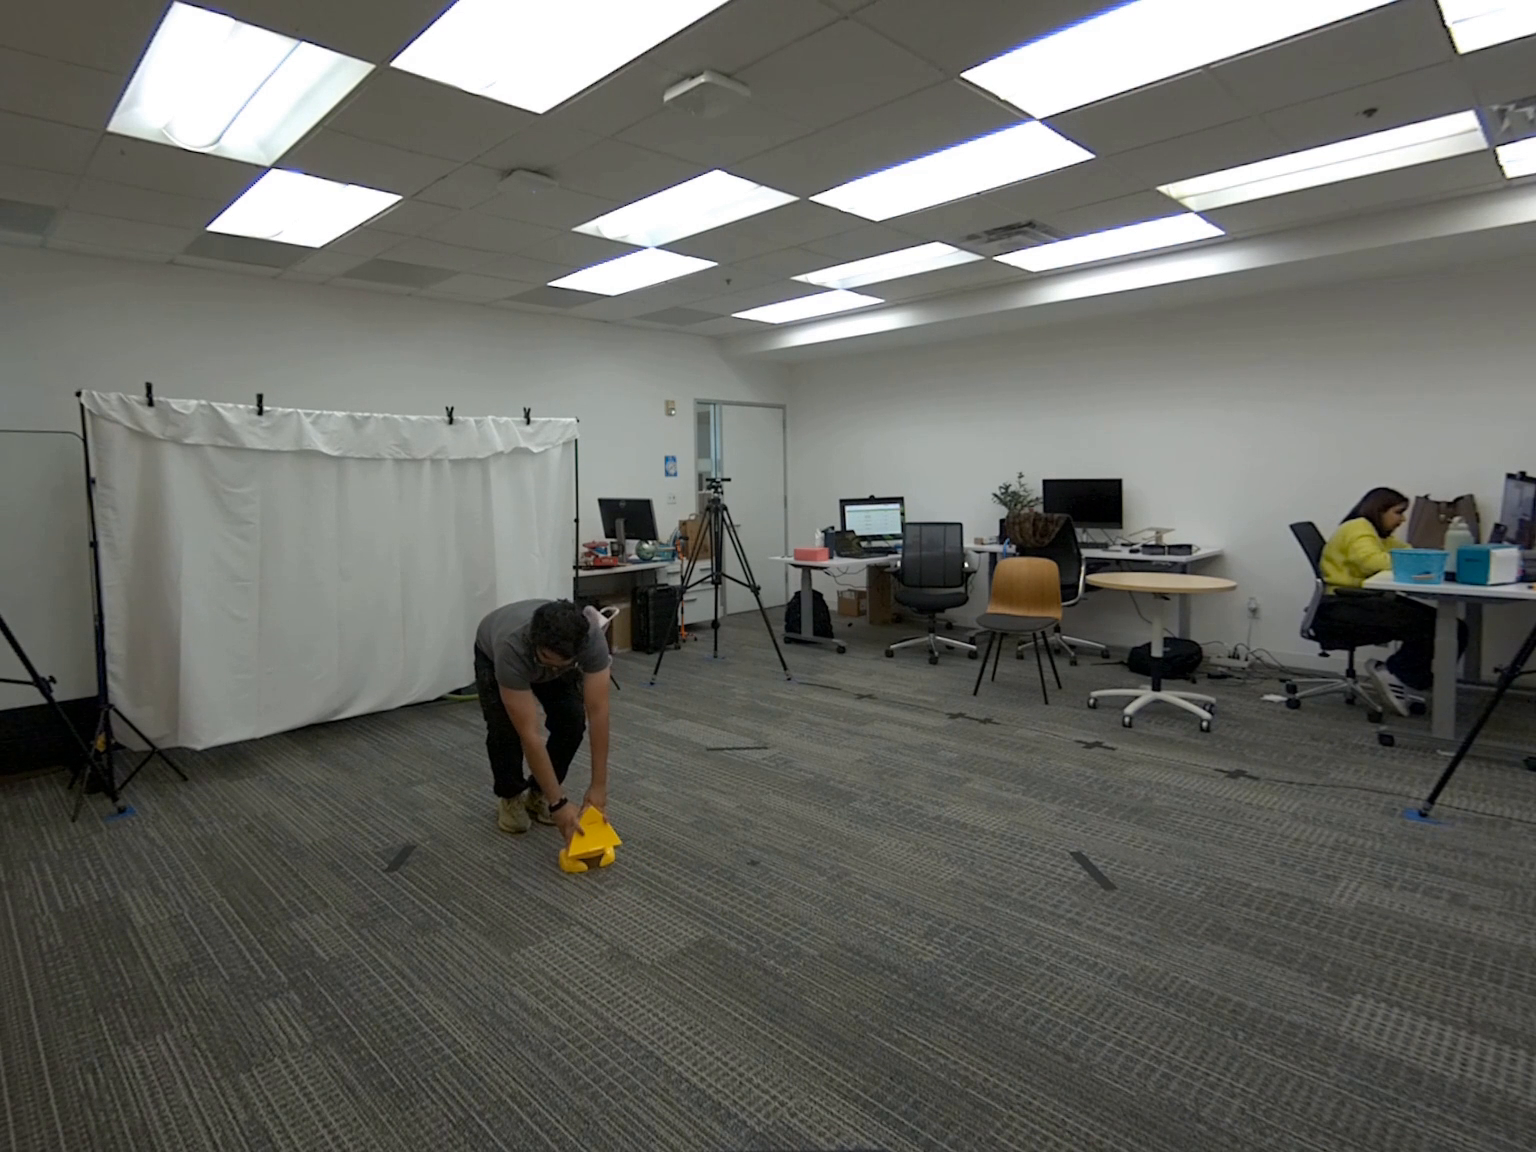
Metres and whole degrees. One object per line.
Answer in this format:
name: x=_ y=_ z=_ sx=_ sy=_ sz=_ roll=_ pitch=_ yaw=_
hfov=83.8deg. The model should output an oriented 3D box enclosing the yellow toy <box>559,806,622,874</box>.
yellow toy: x=-0.666 y=0.938 z=3.135 sx=0.200 sy=0.230 sz=0.198 roll=-4 pitch=6 yaw=-30
